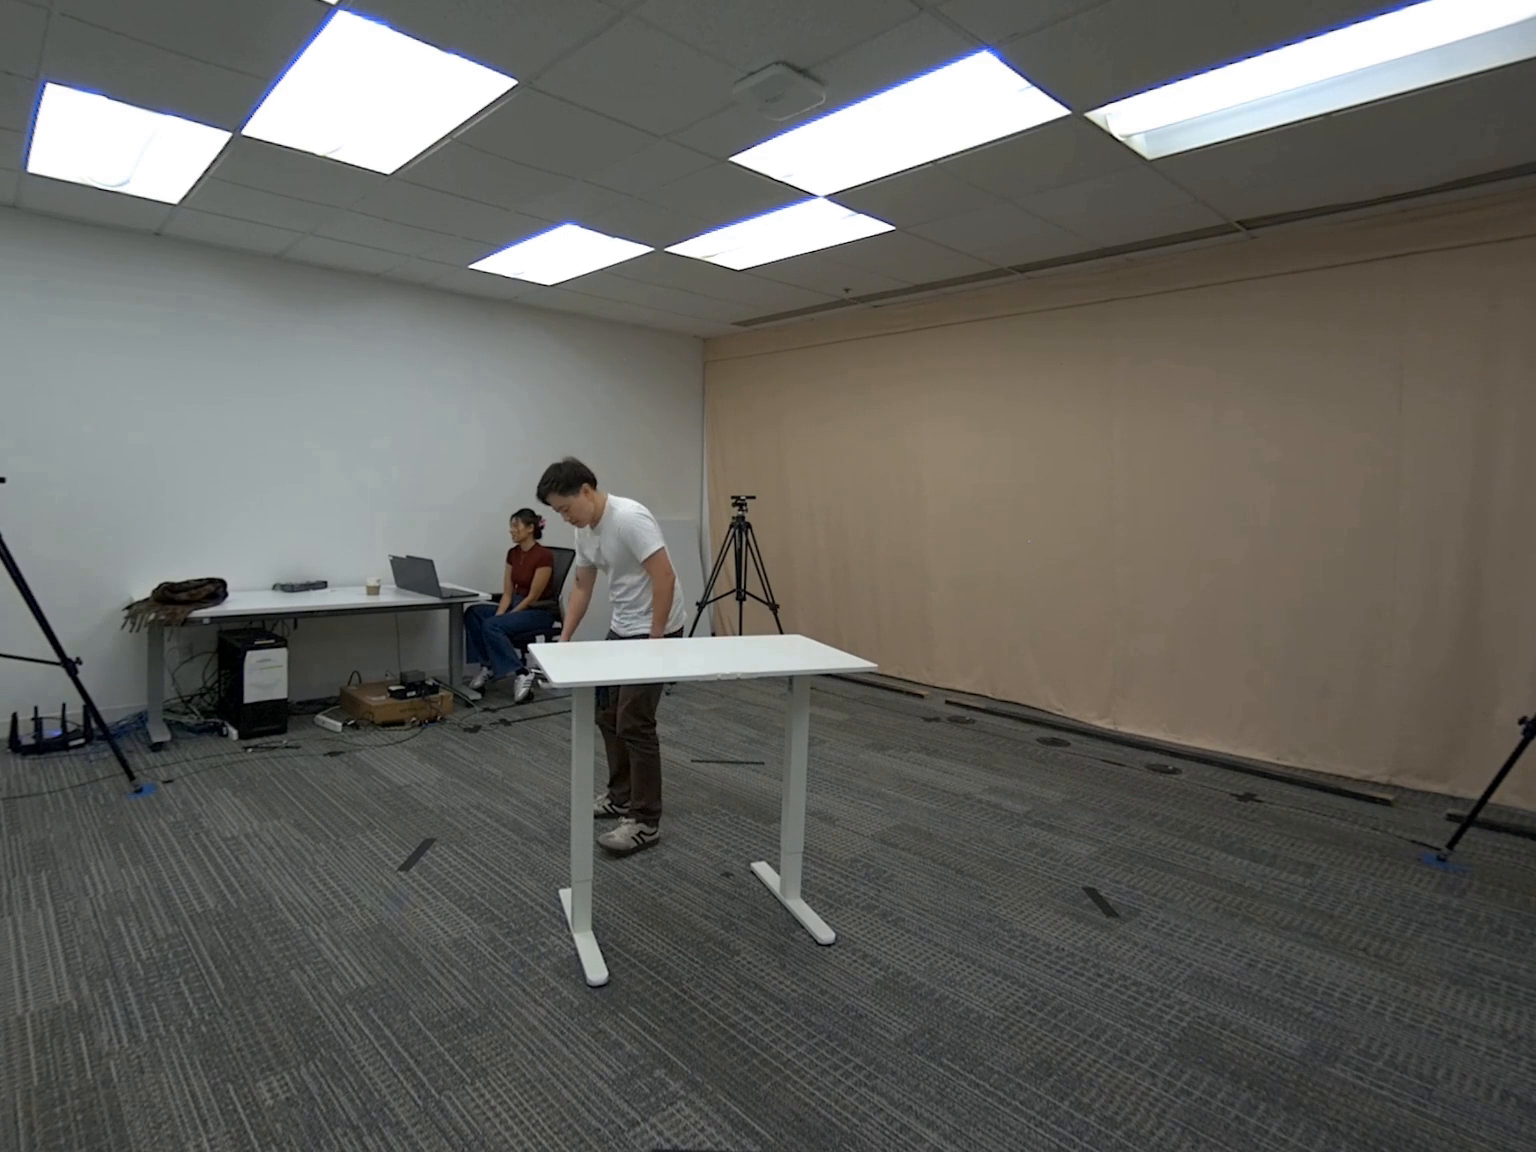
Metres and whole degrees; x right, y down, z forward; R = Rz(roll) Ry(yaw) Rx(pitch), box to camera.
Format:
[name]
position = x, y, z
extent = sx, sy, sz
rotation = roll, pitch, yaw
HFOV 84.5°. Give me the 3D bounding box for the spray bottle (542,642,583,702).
[spray bottle]
position = -0.883, 0.413, 3.638
extent = 0.091, 0.290, 0.088
rotation = 5, 47, 8
